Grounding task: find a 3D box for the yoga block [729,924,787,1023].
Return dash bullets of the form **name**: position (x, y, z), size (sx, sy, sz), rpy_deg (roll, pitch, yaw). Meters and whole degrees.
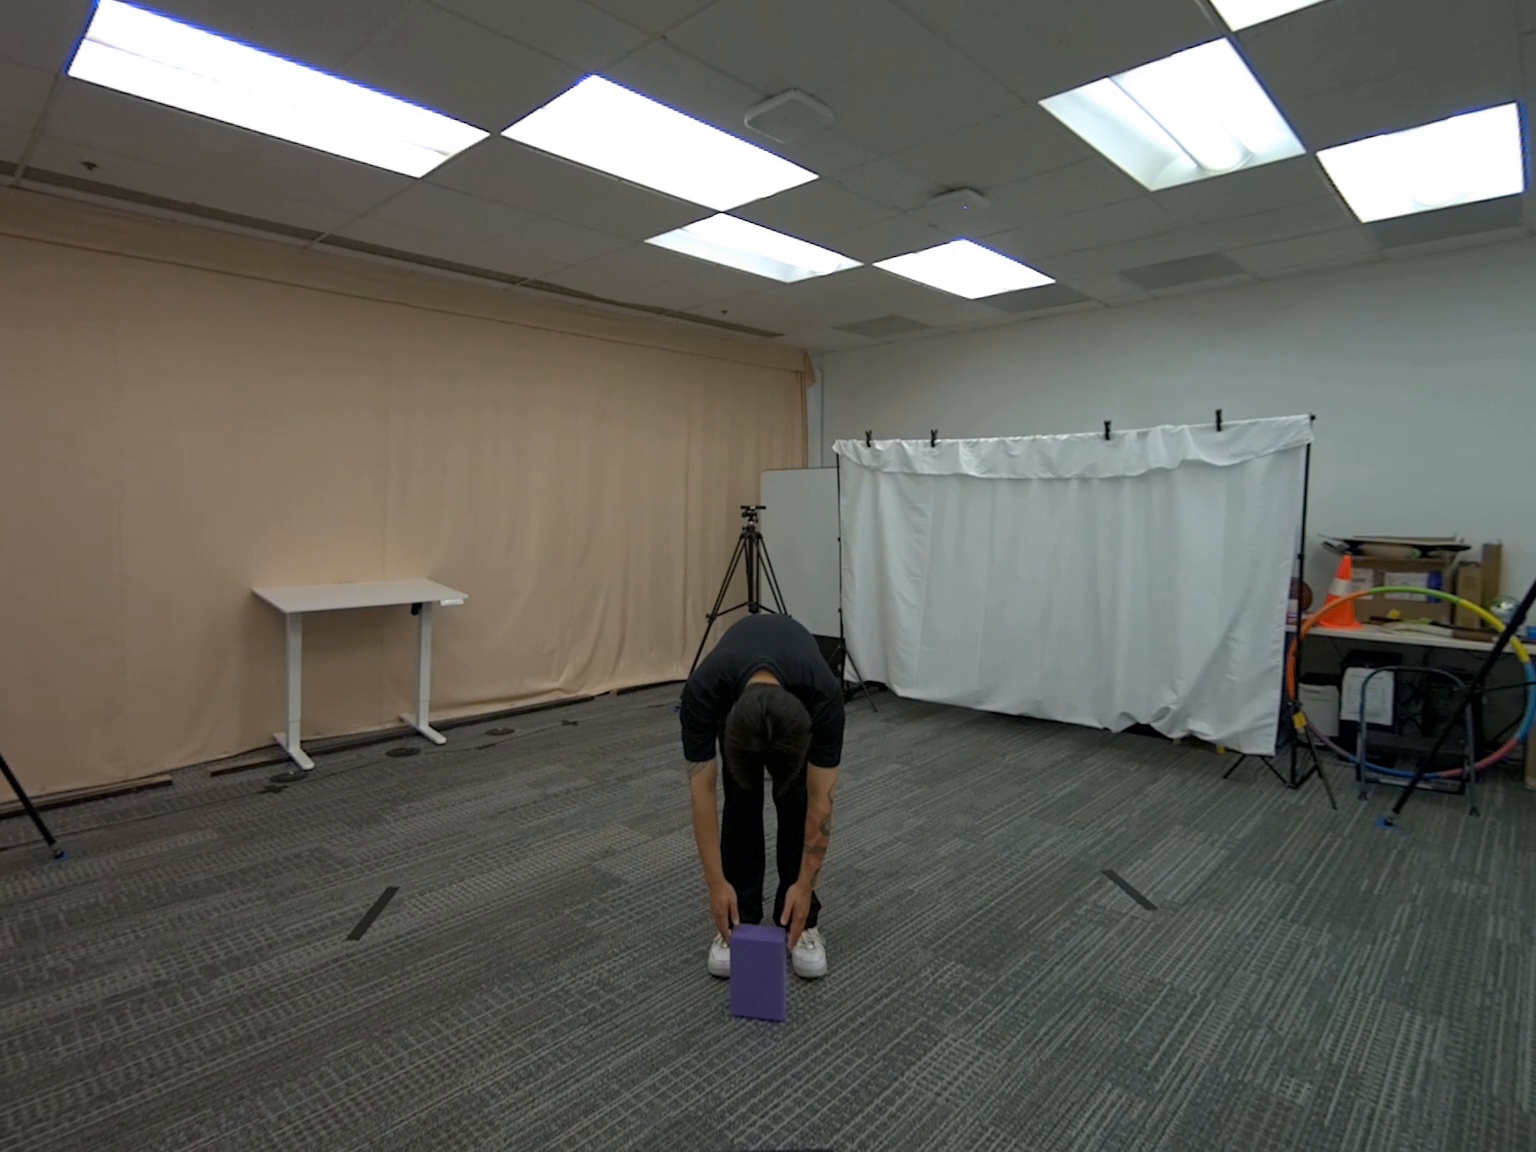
- **yoga block**: position (-0.028, 1.078, 2.312), size (0.150, 0.229, 0.076), rpy_deg (-1, 4, 10)
